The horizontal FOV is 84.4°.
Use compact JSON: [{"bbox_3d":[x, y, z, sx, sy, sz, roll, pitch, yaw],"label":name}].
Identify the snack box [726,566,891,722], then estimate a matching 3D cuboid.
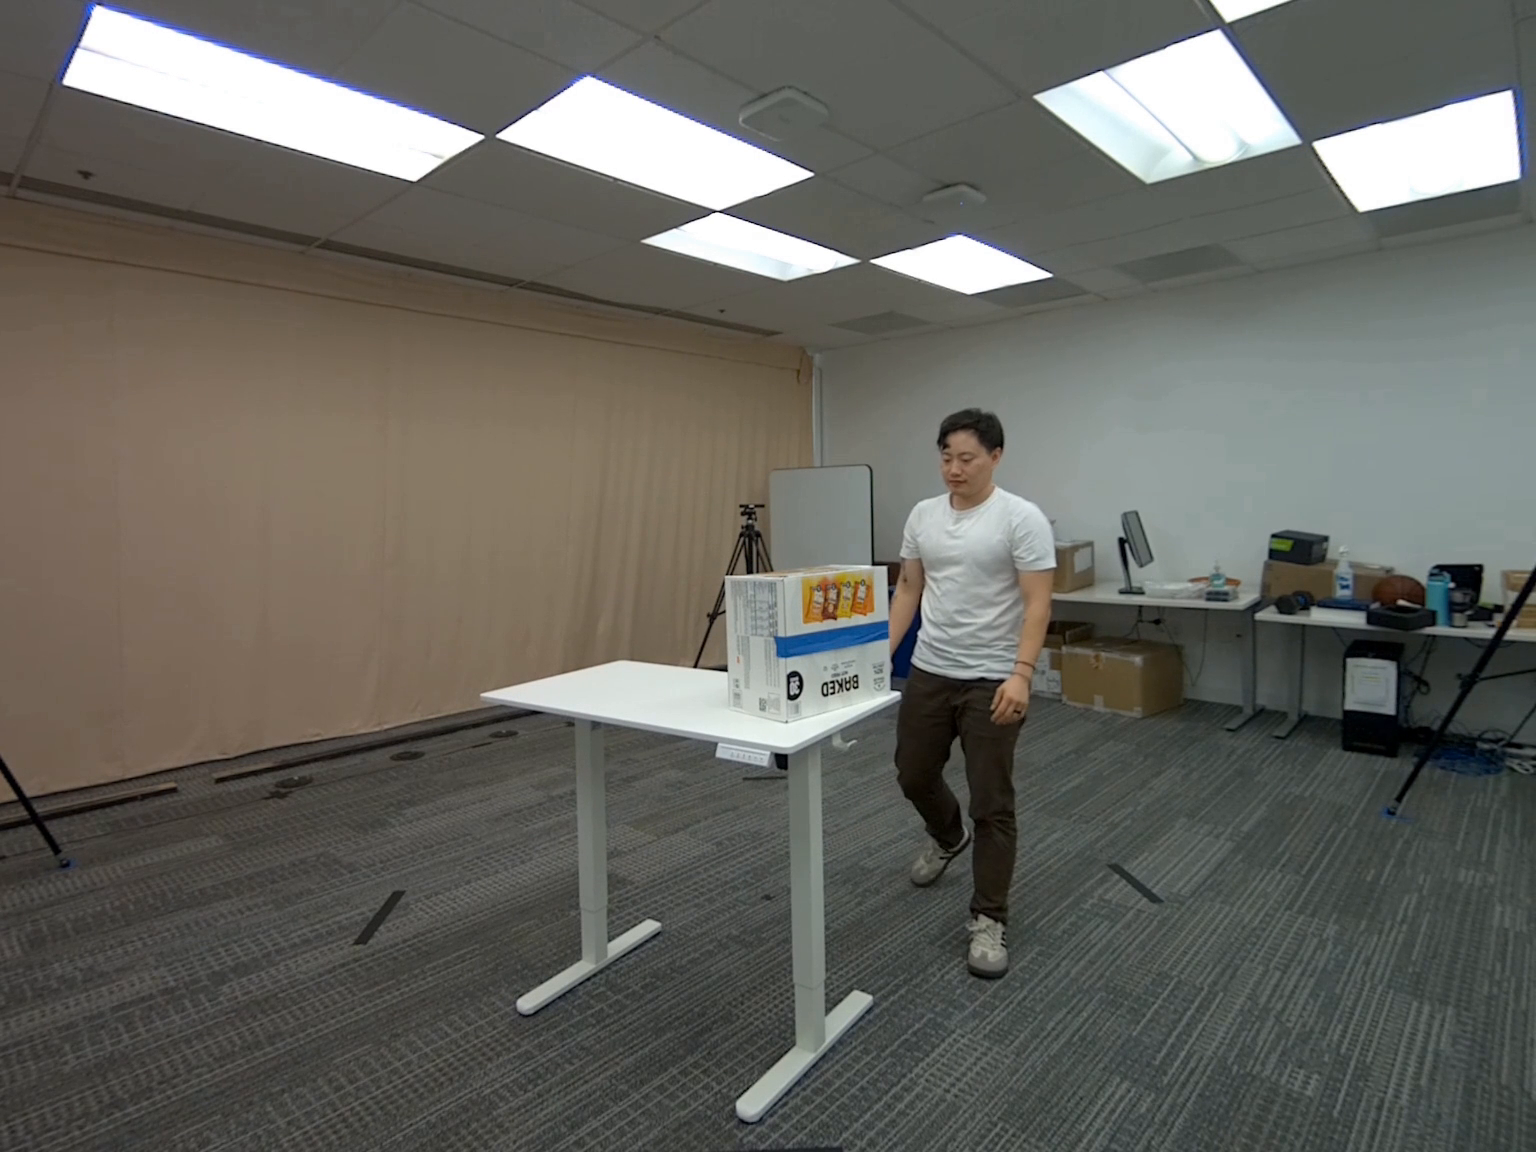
[{"bbox_3d":[0.112,0.156,2.159,0.393,0.340,0.212,-4,3,-43],"label":"snack box"}]
